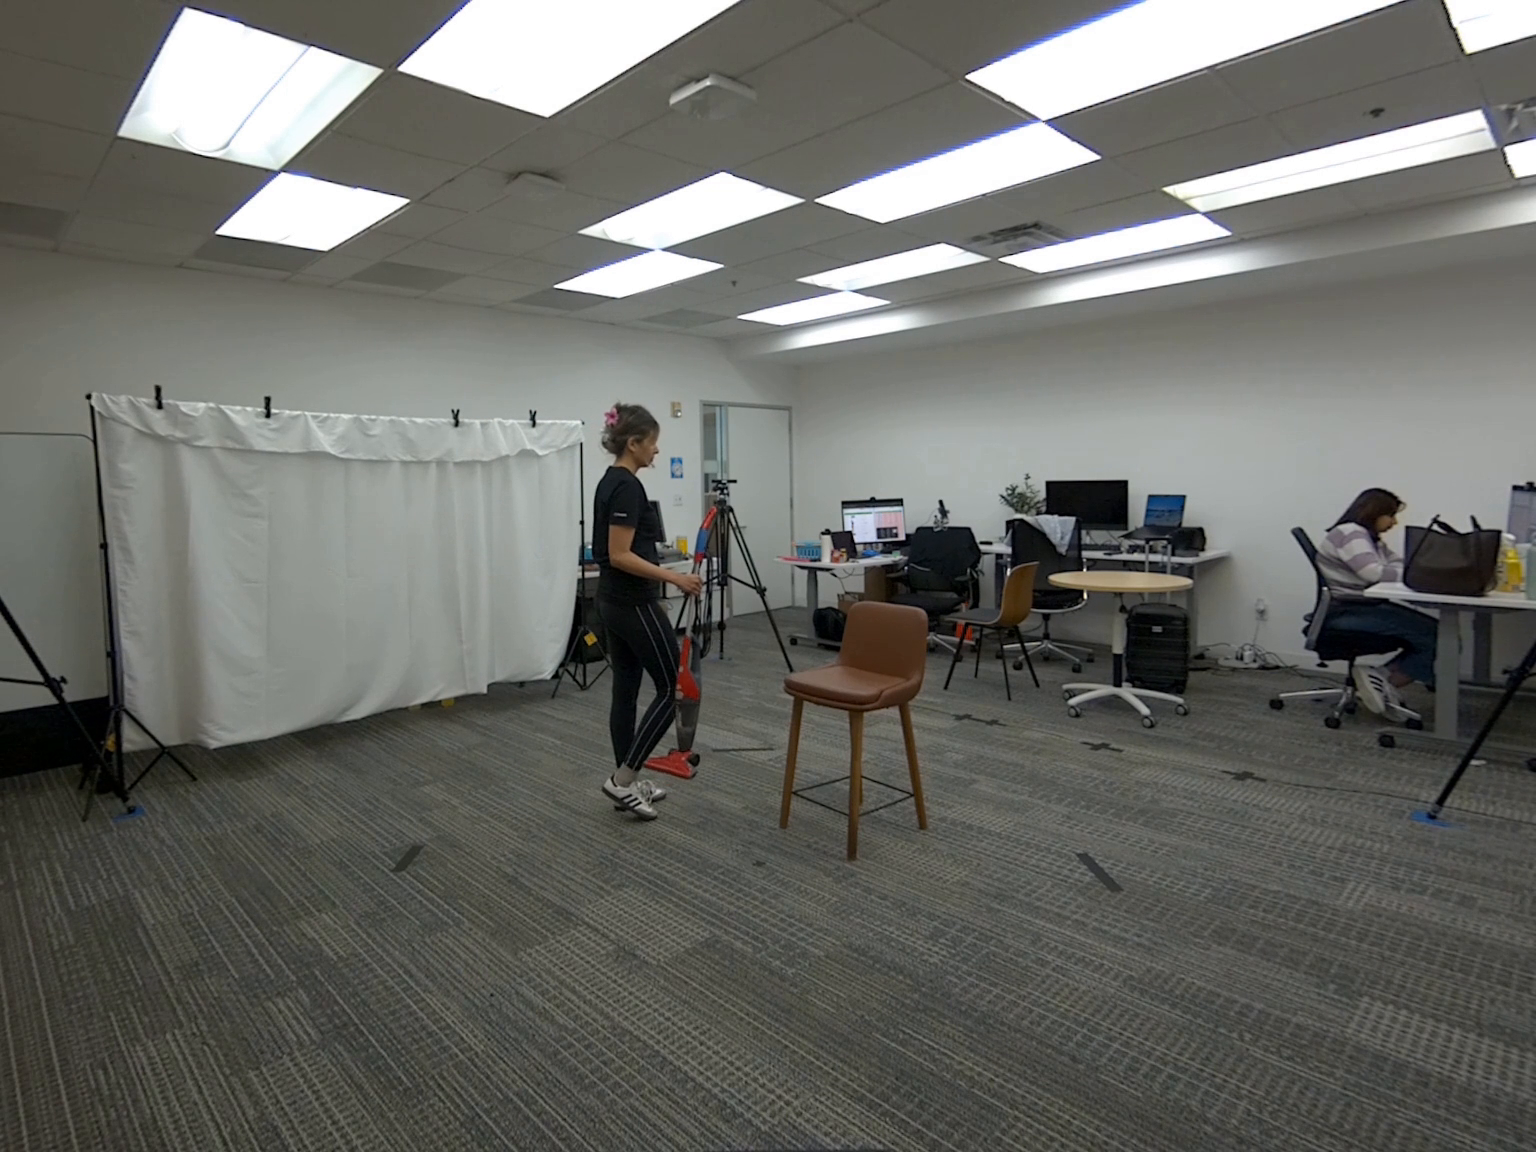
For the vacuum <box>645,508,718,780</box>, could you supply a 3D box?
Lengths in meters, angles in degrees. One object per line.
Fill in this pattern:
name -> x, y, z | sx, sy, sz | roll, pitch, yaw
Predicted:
vacuum -> -0.290, 0.246, 3.473 | 0.260, 1.055, 0.139 | 4, -8, 37
